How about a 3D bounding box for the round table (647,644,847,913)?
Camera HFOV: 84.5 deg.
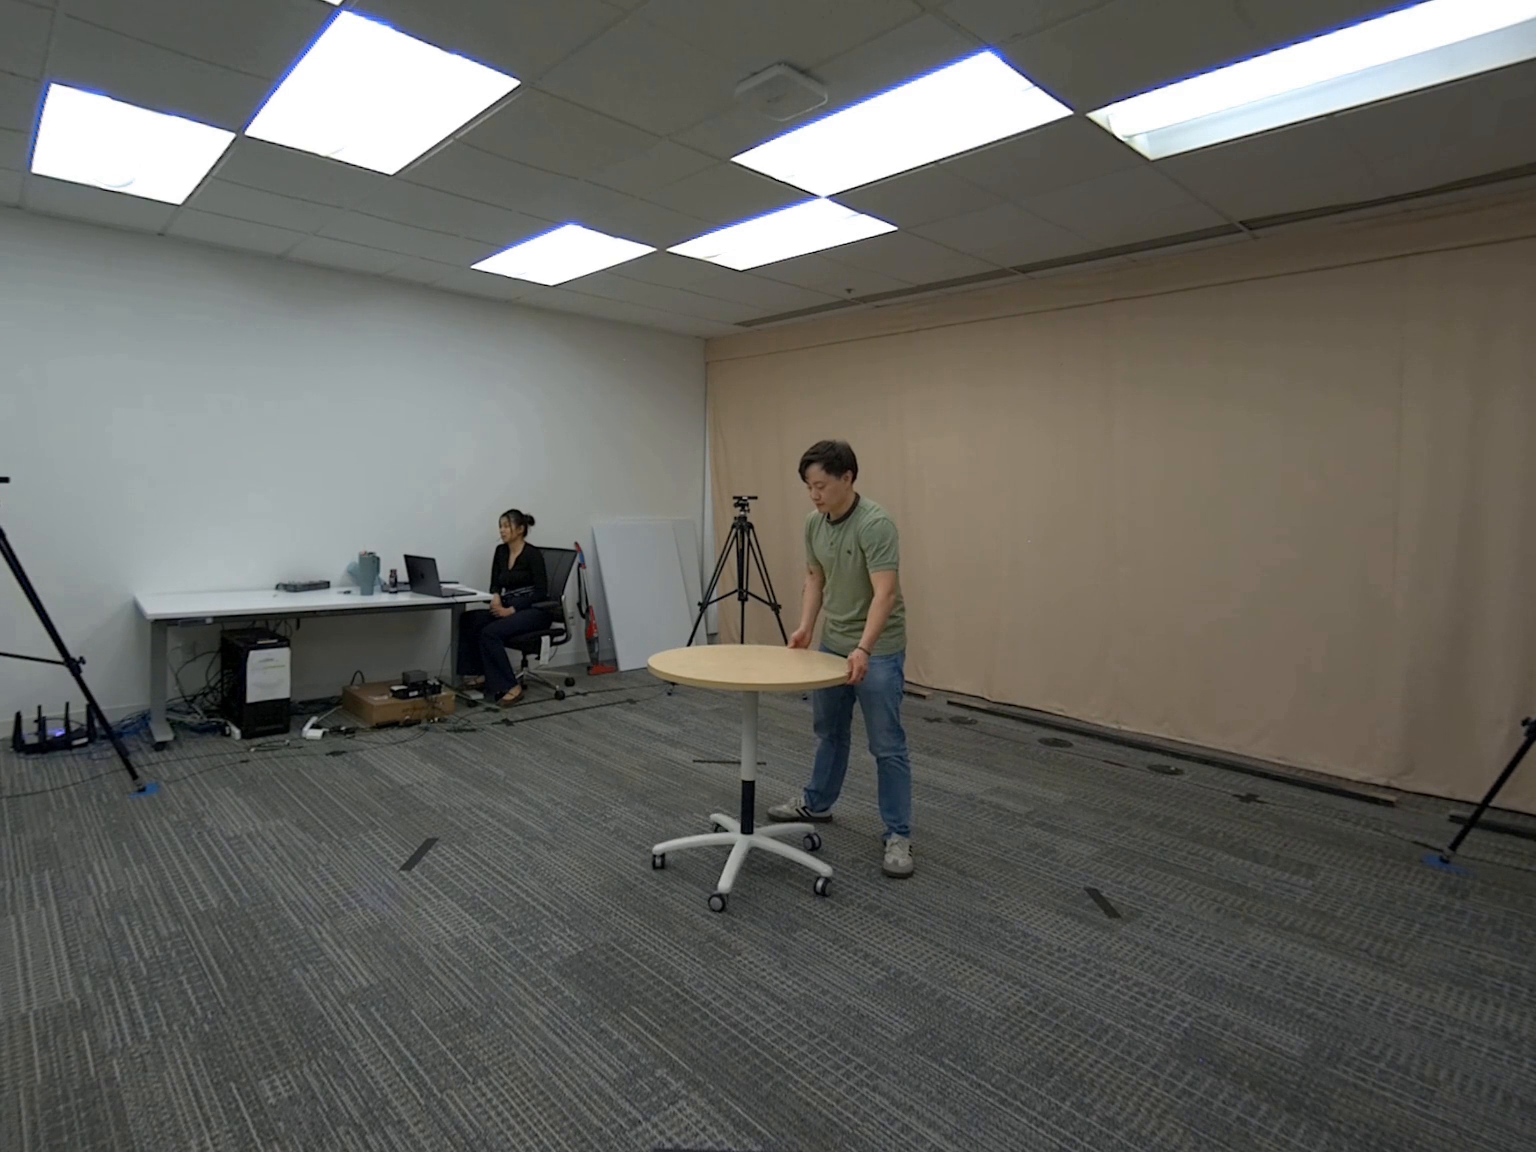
[{"bbox_3d":[-0.077,0.711,3.136,0.763,0.792,0.766,2,4,-1],"label":"round table"}]
